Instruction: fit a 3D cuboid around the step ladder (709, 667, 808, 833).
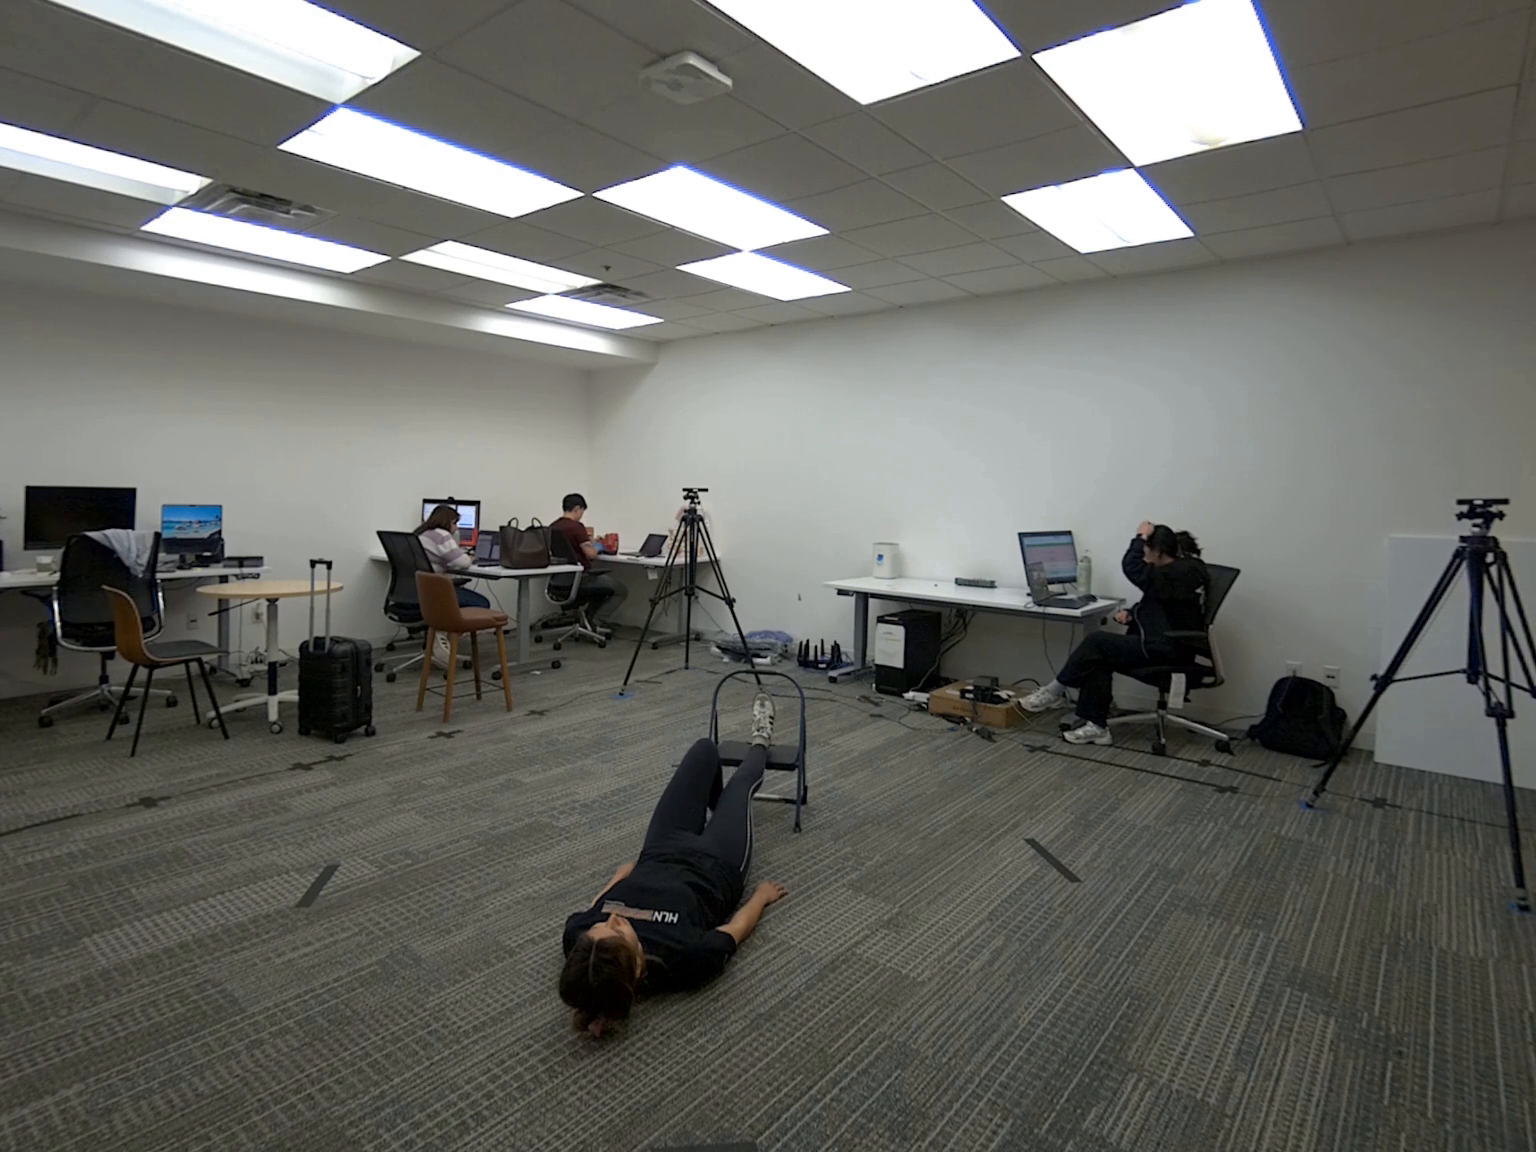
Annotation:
[{"bbox_3d":[-0.051,0.717,3.662,0.436,0.604,0.346,2,3,10],"label":"step ladder"}]
